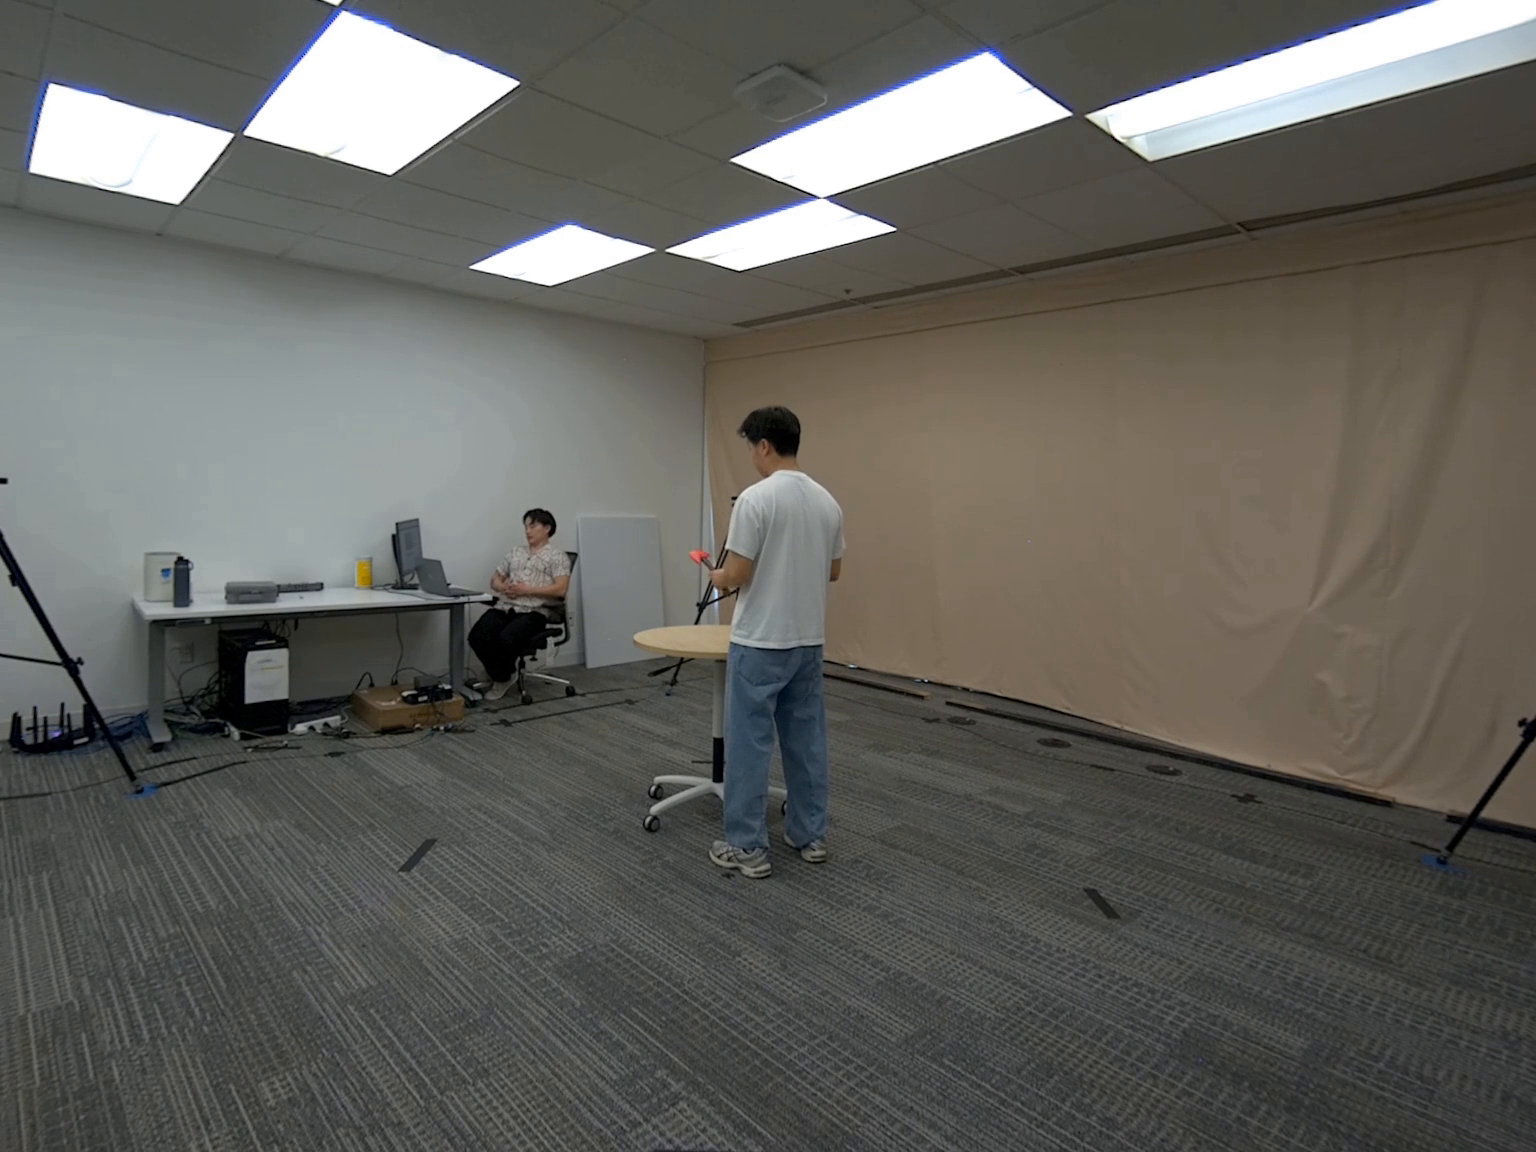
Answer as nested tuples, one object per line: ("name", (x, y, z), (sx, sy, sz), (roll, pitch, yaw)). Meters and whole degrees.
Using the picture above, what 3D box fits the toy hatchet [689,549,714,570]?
("toy hatchet", (-0.244, -0.021, 3.410), (0.127, 0.029, 0.278), (17, 28, -37))
